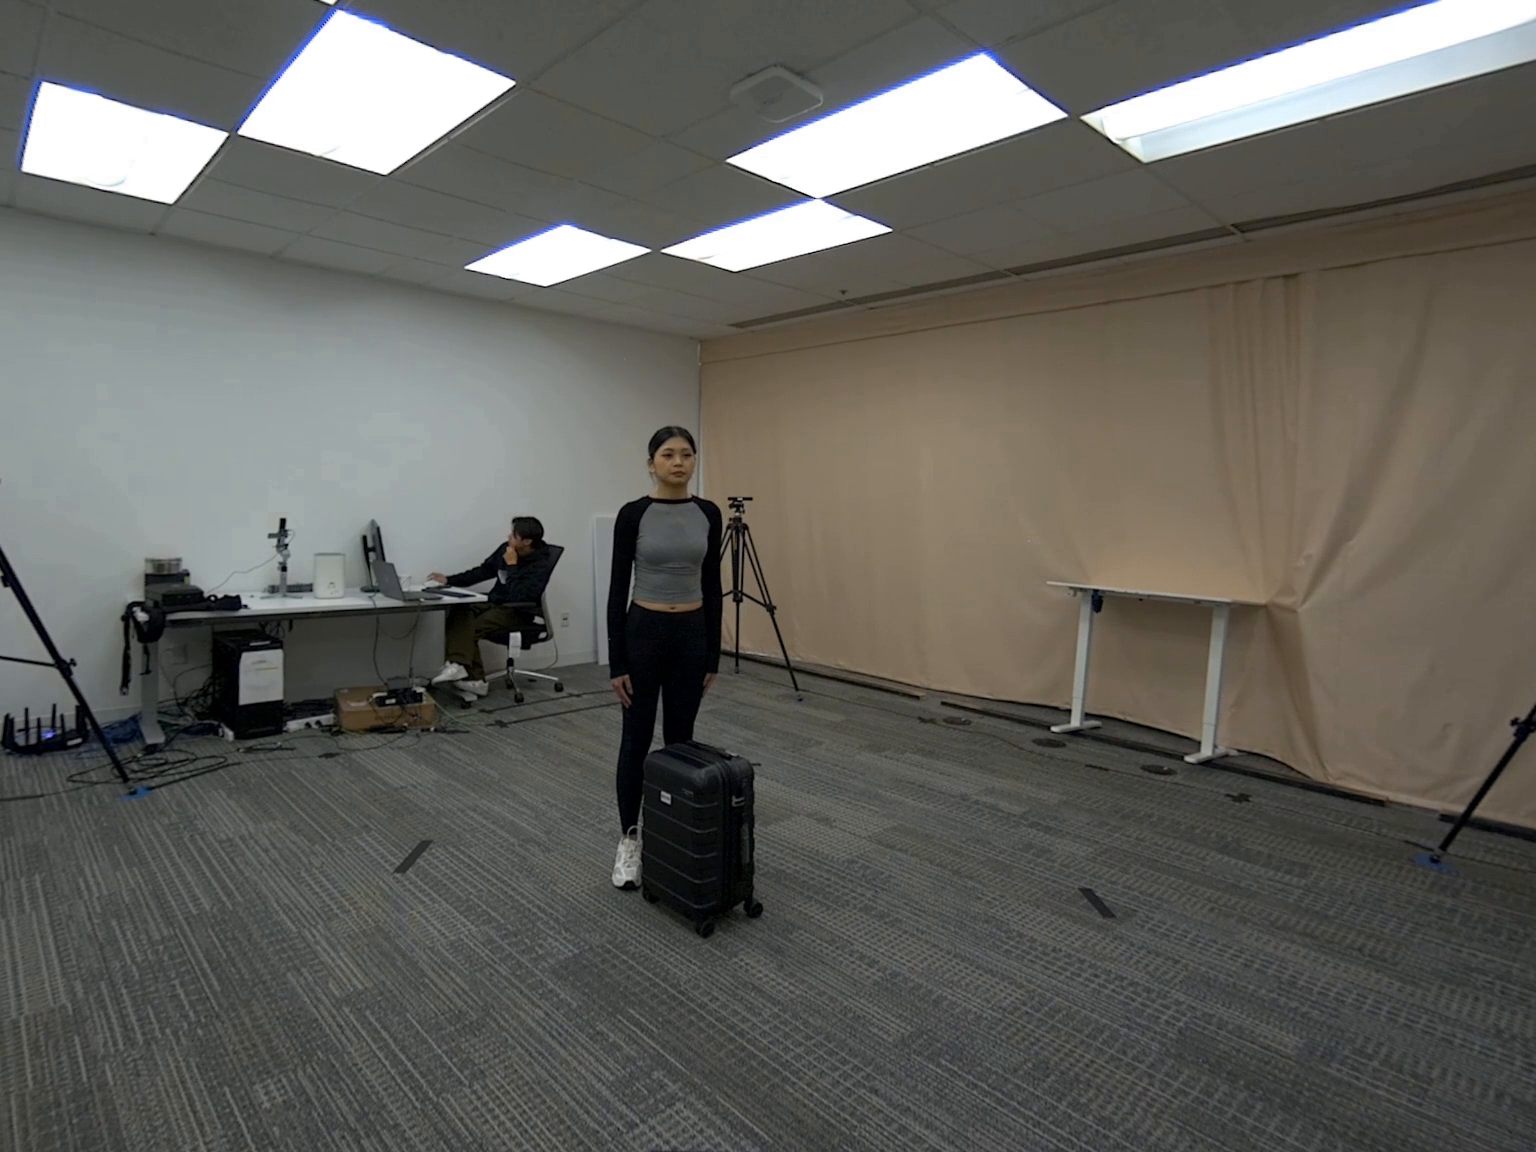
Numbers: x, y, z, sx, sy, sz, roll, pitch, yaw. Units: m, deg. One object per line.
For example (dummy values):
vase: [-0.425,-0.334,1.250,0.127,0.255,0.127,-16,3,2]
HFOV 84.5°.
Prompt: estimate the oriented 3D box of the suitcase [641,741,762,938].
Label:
suitcase: [-0.236,0.856,2.822,0.243,0.548,0.385,-4,6,-43]
